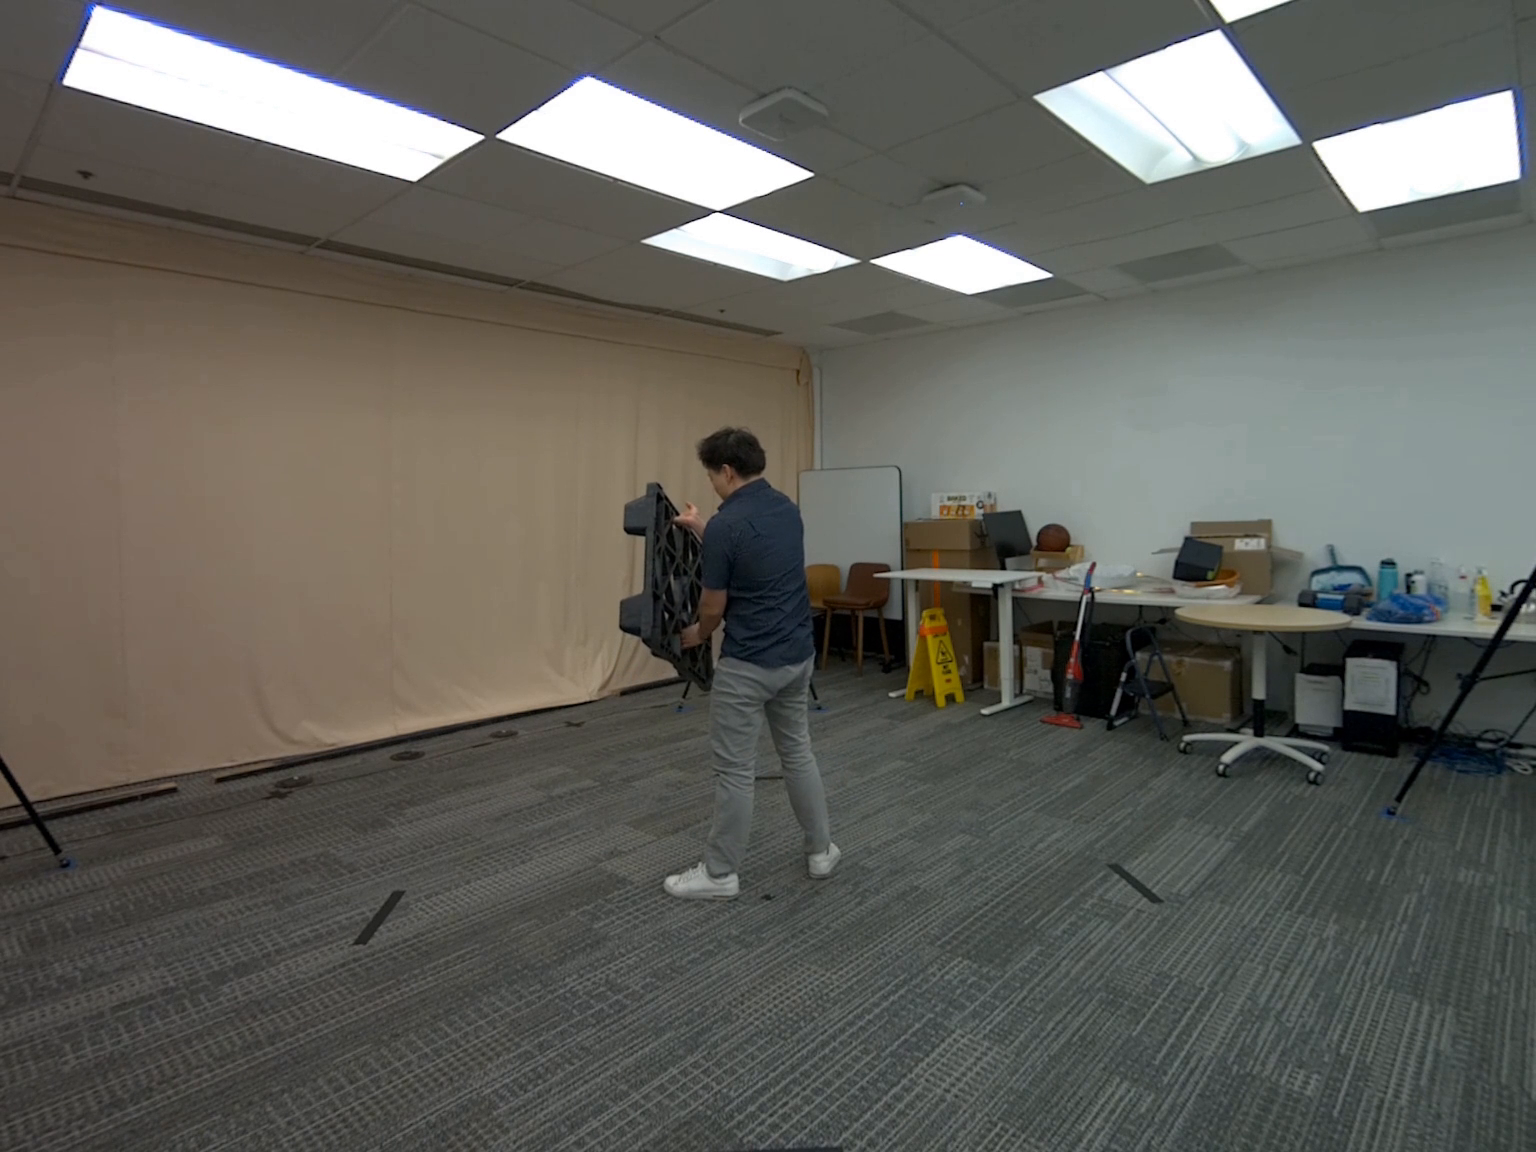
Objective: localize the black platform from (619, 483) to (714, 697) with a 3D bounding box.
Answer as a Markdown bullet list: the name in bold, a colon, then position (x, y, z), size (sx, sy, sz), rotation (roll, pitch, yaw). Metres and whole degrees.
- **black platform**: position (-0.382, 0.083, 3.294), size (0.145, 0.613, 0.785), rotation (-6, -23, 10)
